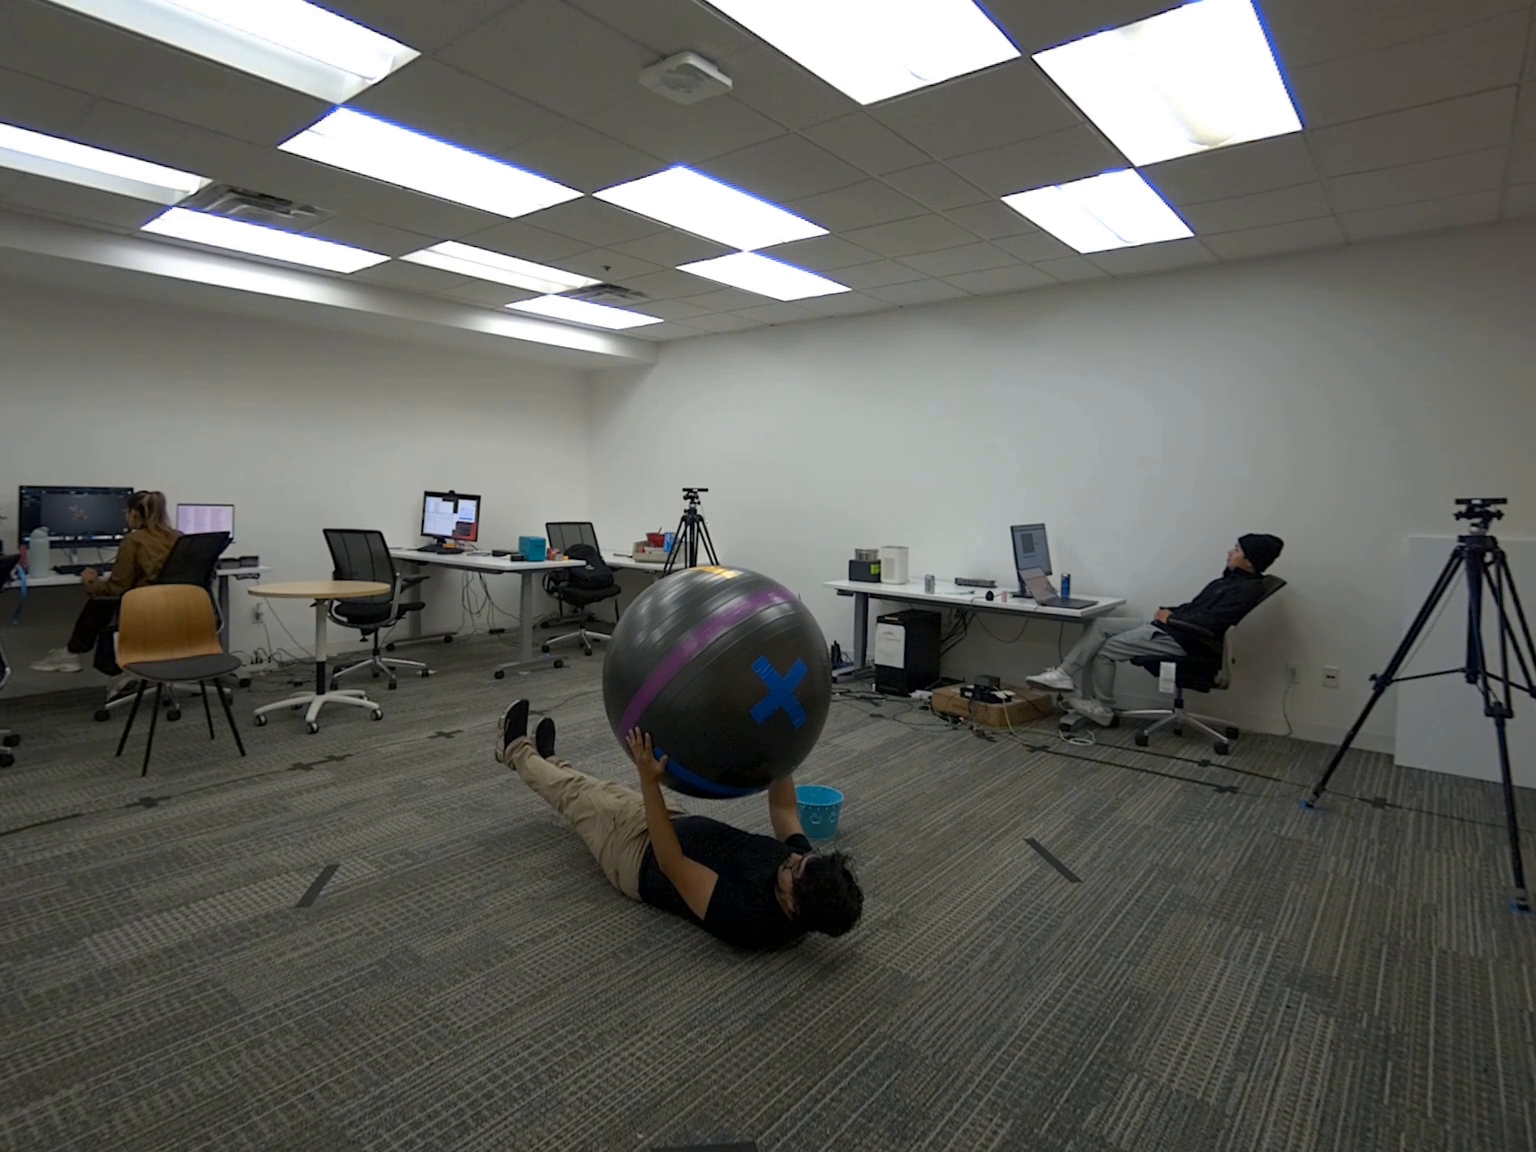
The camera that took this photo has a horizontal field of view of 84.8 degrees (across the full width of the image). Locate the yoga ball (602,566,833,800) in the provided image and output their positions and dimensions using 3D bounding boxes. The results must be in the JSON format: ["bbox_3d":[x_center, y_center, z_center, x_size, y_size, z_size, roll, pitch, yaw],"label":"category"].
[{"bbox_3d":[-0.177,0.347,2.807,0.757,0.756,0.761,0,4,-2],"label":"yoga ball"}]
